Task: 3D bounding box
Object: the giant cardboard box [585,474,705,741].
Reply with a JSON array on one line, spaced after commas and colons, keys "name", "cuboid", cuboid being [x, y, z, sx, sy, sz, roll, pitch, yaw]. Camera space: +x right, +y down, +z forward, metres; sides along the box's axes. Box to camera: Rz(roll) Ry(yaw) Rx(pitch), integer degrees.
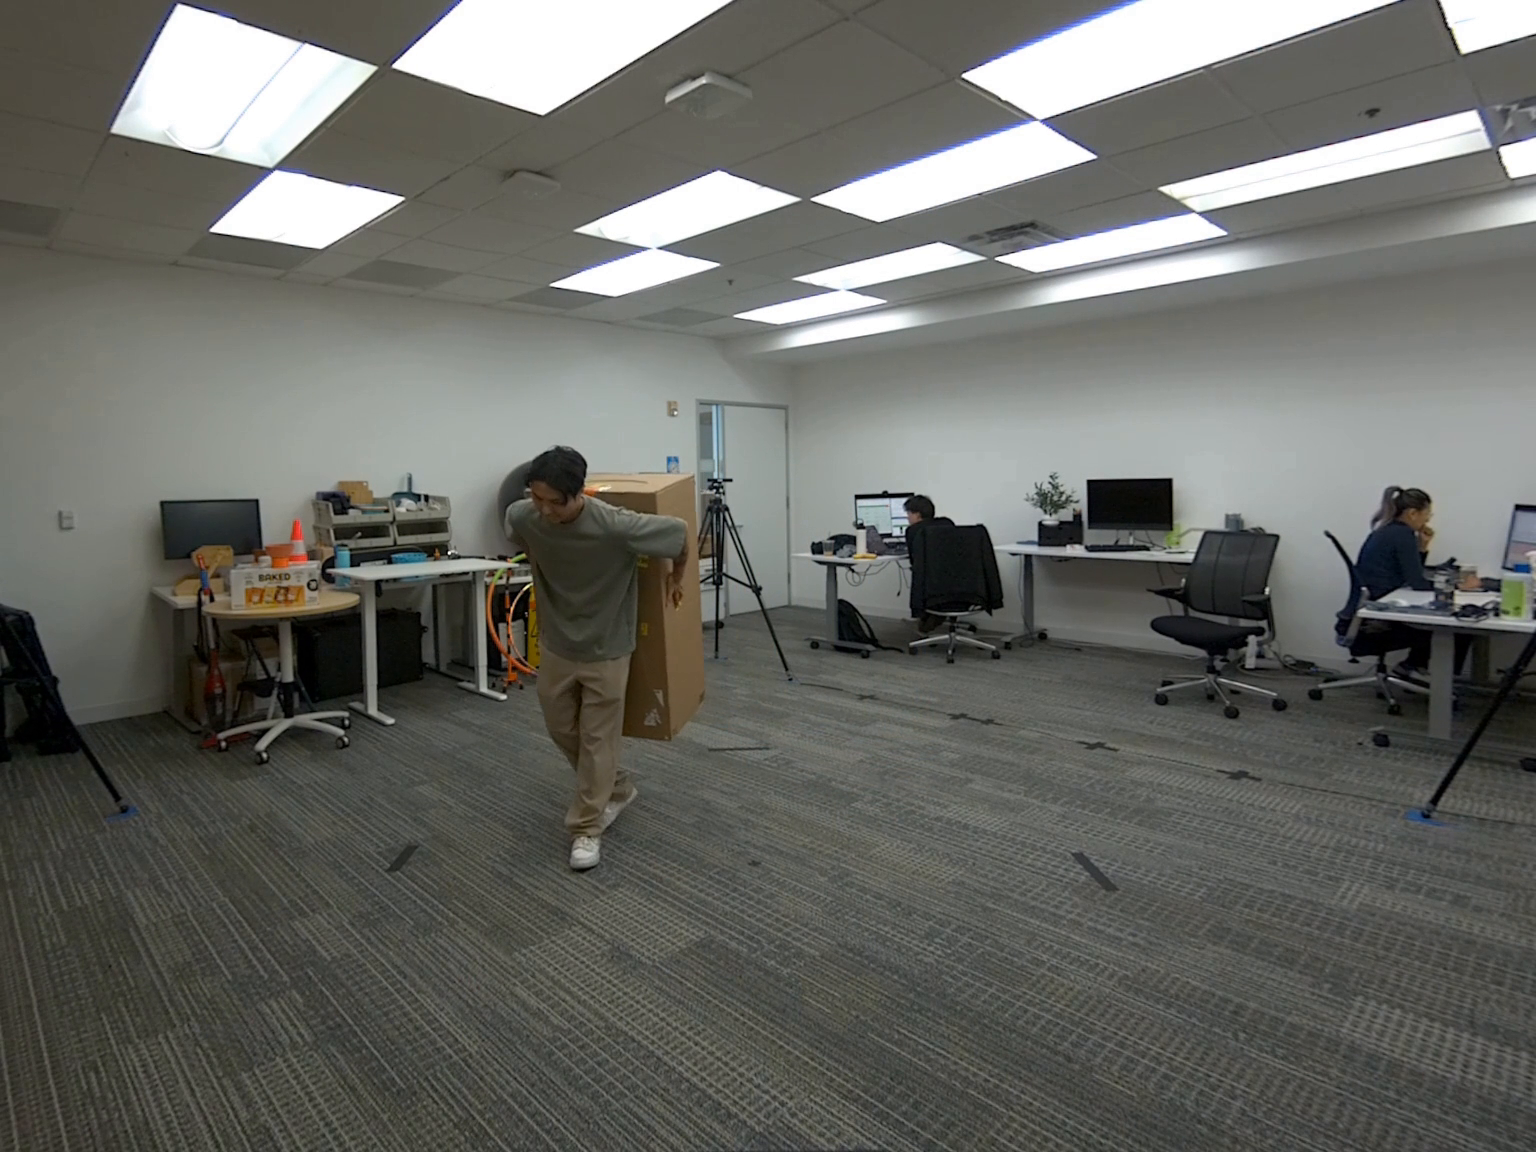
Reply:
[{"name": "giant cardboard box", "cuboid": [-0.620, 0.106, 3.601, 0.588, 1.013, 0.424, 3, 14, 18]}]
